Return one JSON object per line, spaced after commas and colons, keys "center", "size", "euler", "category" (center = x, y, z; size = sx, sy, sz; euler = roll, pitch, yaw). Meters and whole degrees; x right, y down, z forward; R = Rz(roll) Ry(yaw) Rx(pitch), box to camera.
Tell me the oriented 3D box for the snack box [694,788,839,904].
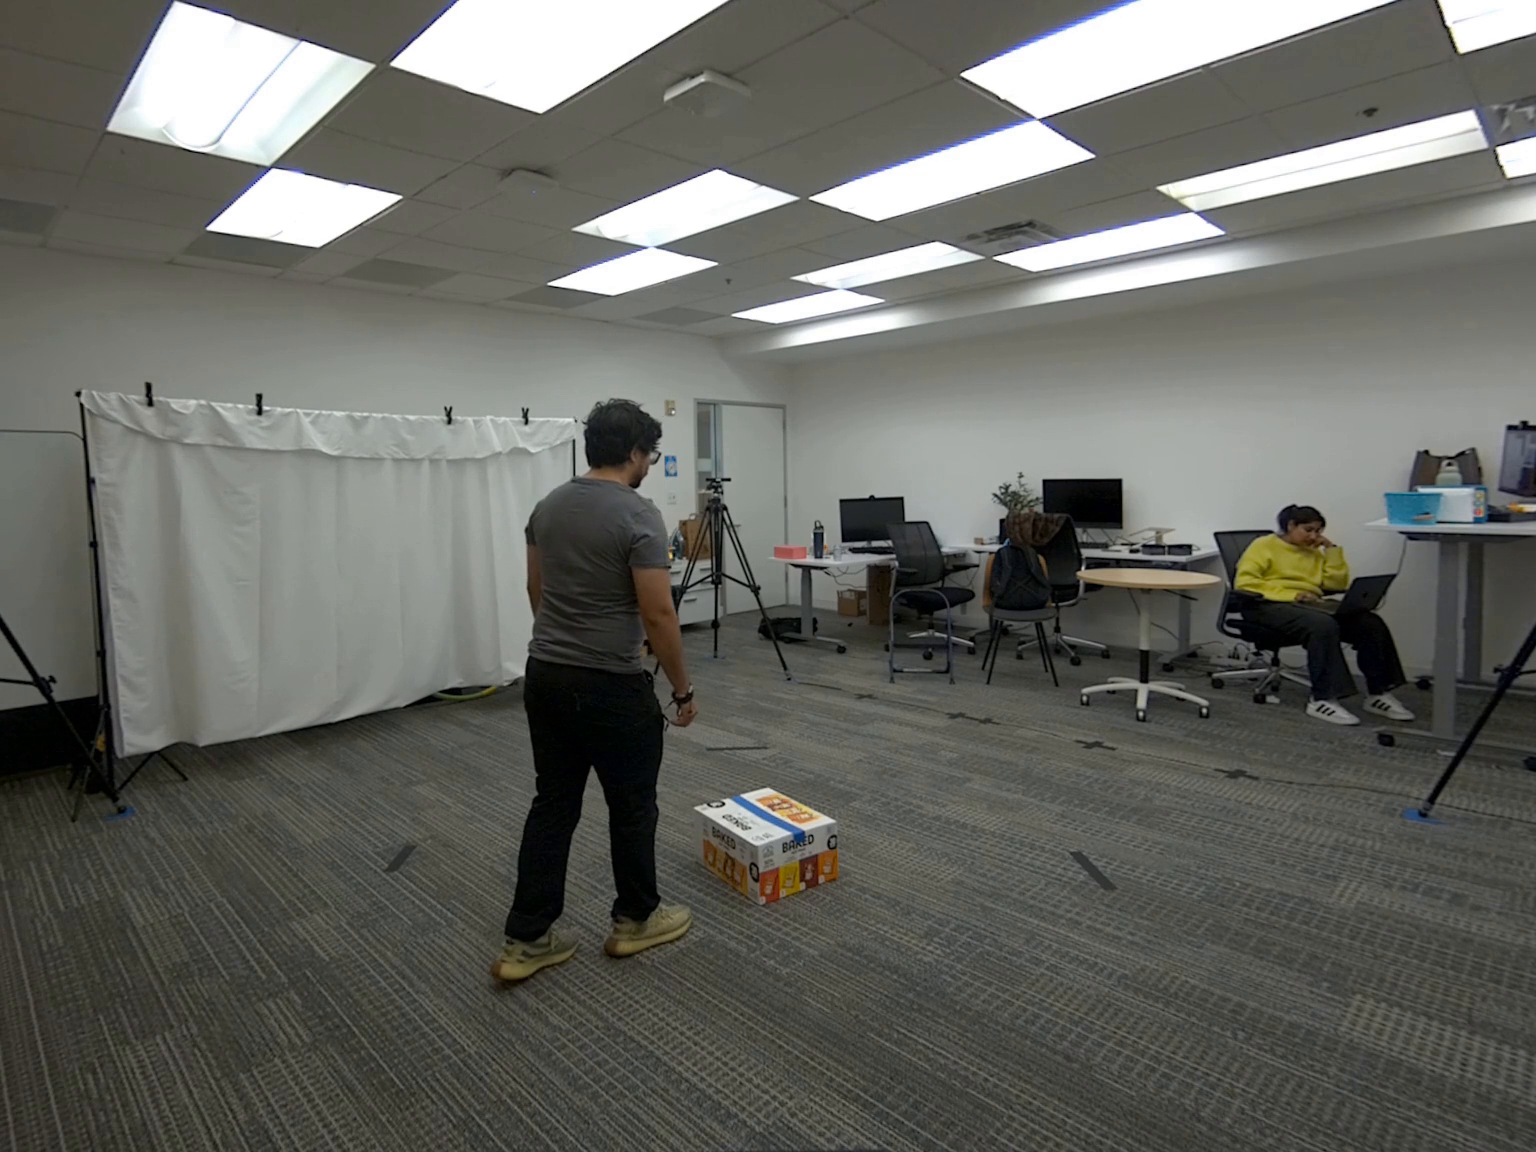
{"center": [-0.012, 0.948, 3.041], "size": [0.332, 0.205, 0.417], "euler": [-5, 7, -35], "category": "snack box"}
